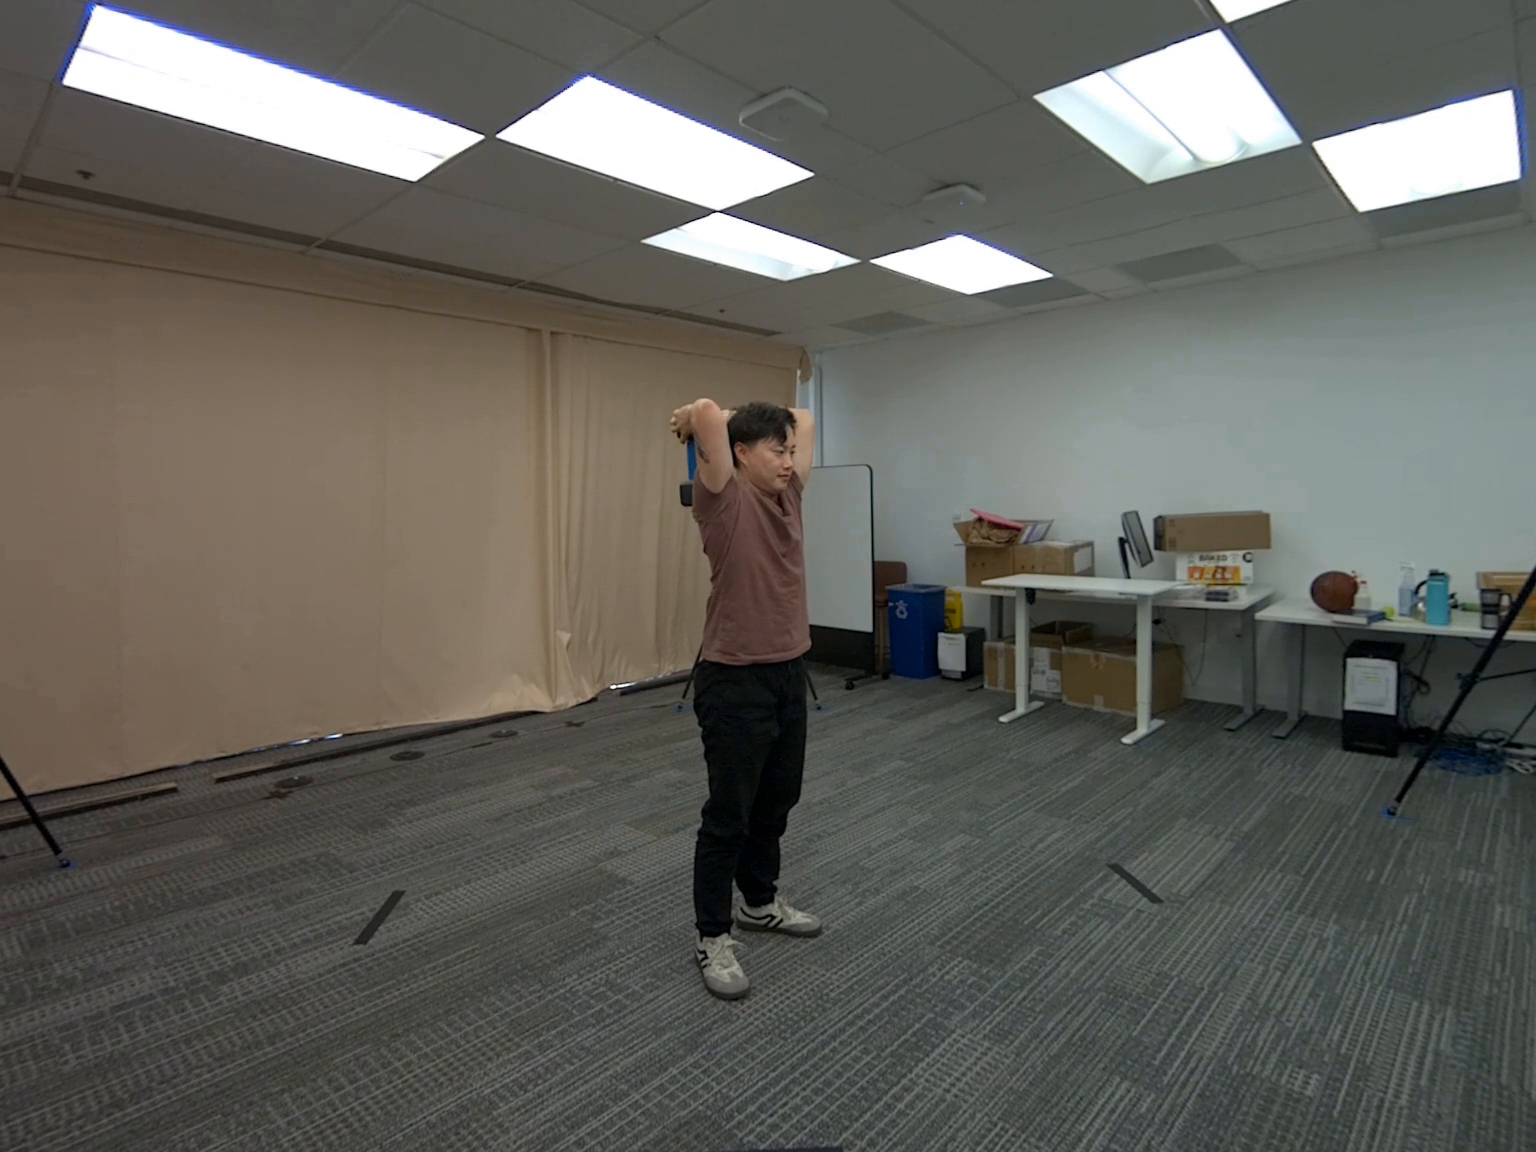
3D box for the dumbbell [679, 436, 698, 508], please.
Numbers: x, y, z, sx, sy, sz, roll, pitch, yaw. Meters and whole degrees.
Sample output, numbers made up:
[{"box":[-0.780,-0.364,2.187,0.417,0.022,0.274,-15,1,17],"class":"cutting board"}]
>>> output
[{"box":[-0.215,-0.370,2.676,0.127,0.293,0.105,2,6,43],"class":"dumbbell"}]
